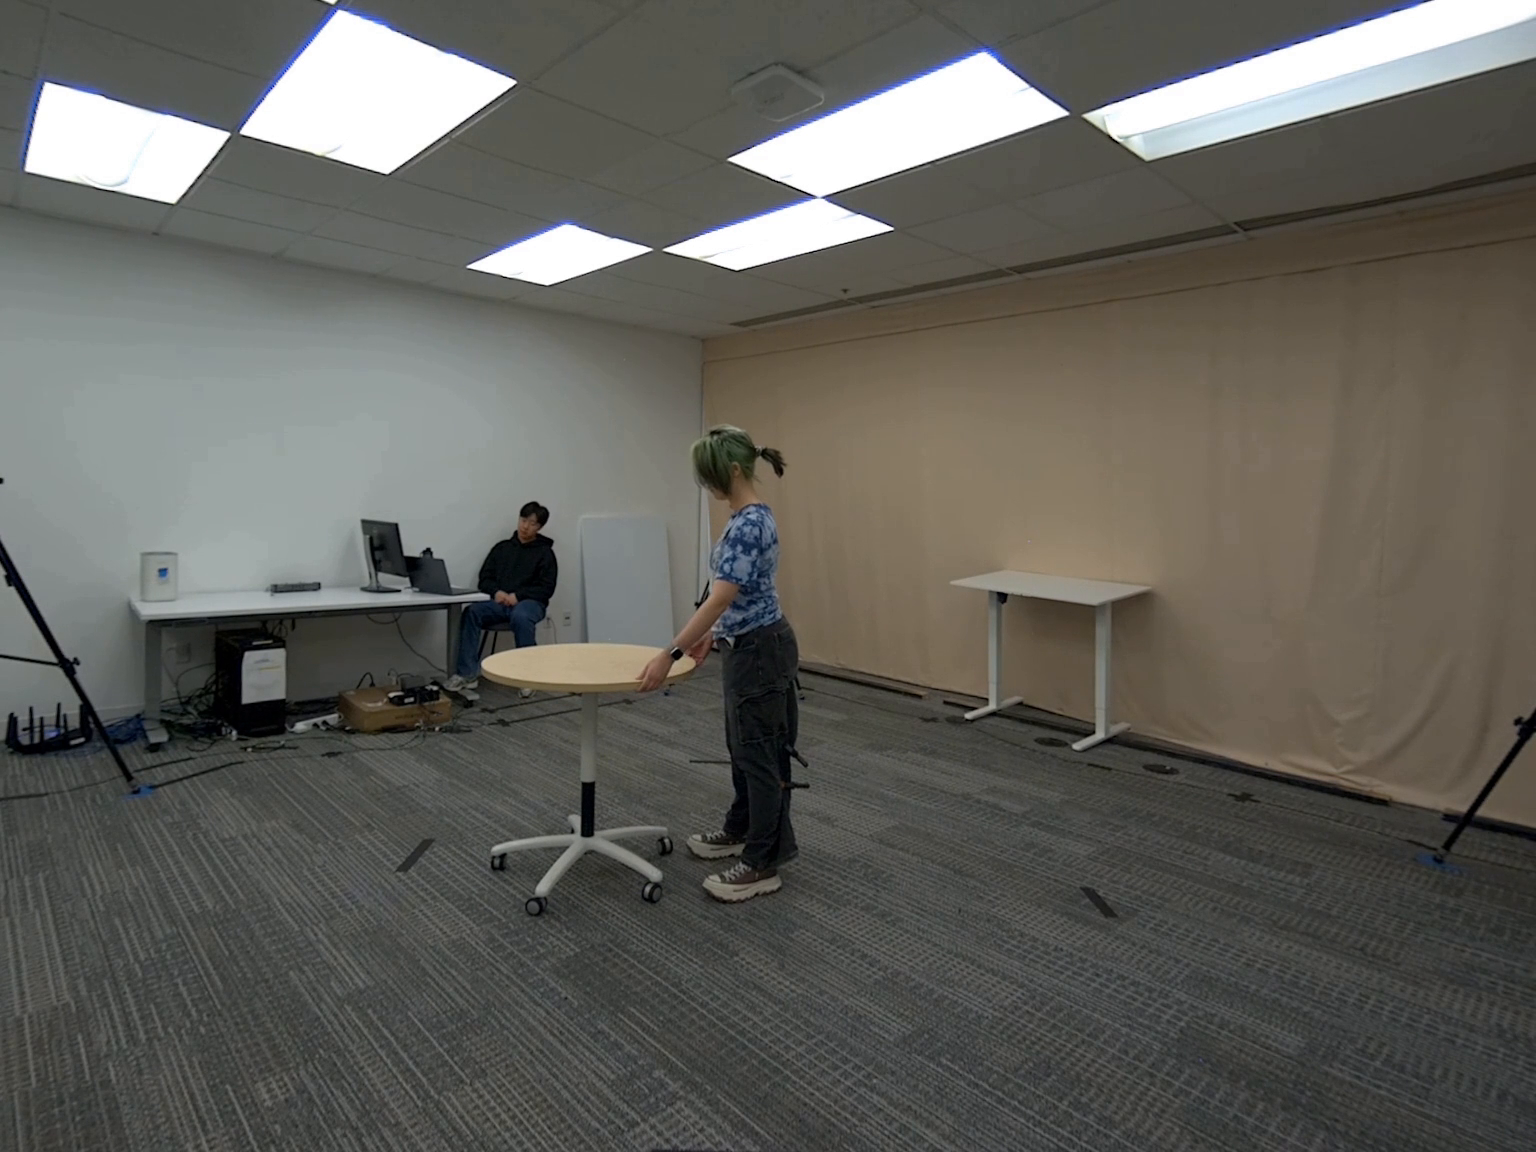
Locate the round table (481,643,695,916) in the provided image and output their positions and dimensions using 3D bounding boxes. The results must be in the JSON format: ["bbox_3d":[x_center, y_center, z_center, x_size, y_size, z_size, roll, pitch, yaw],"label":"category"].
[{"bbox_3d":[-0.665,0.702,3.082,0.763,0.792,0.767,1,4,-1],"label":"round table"}]
